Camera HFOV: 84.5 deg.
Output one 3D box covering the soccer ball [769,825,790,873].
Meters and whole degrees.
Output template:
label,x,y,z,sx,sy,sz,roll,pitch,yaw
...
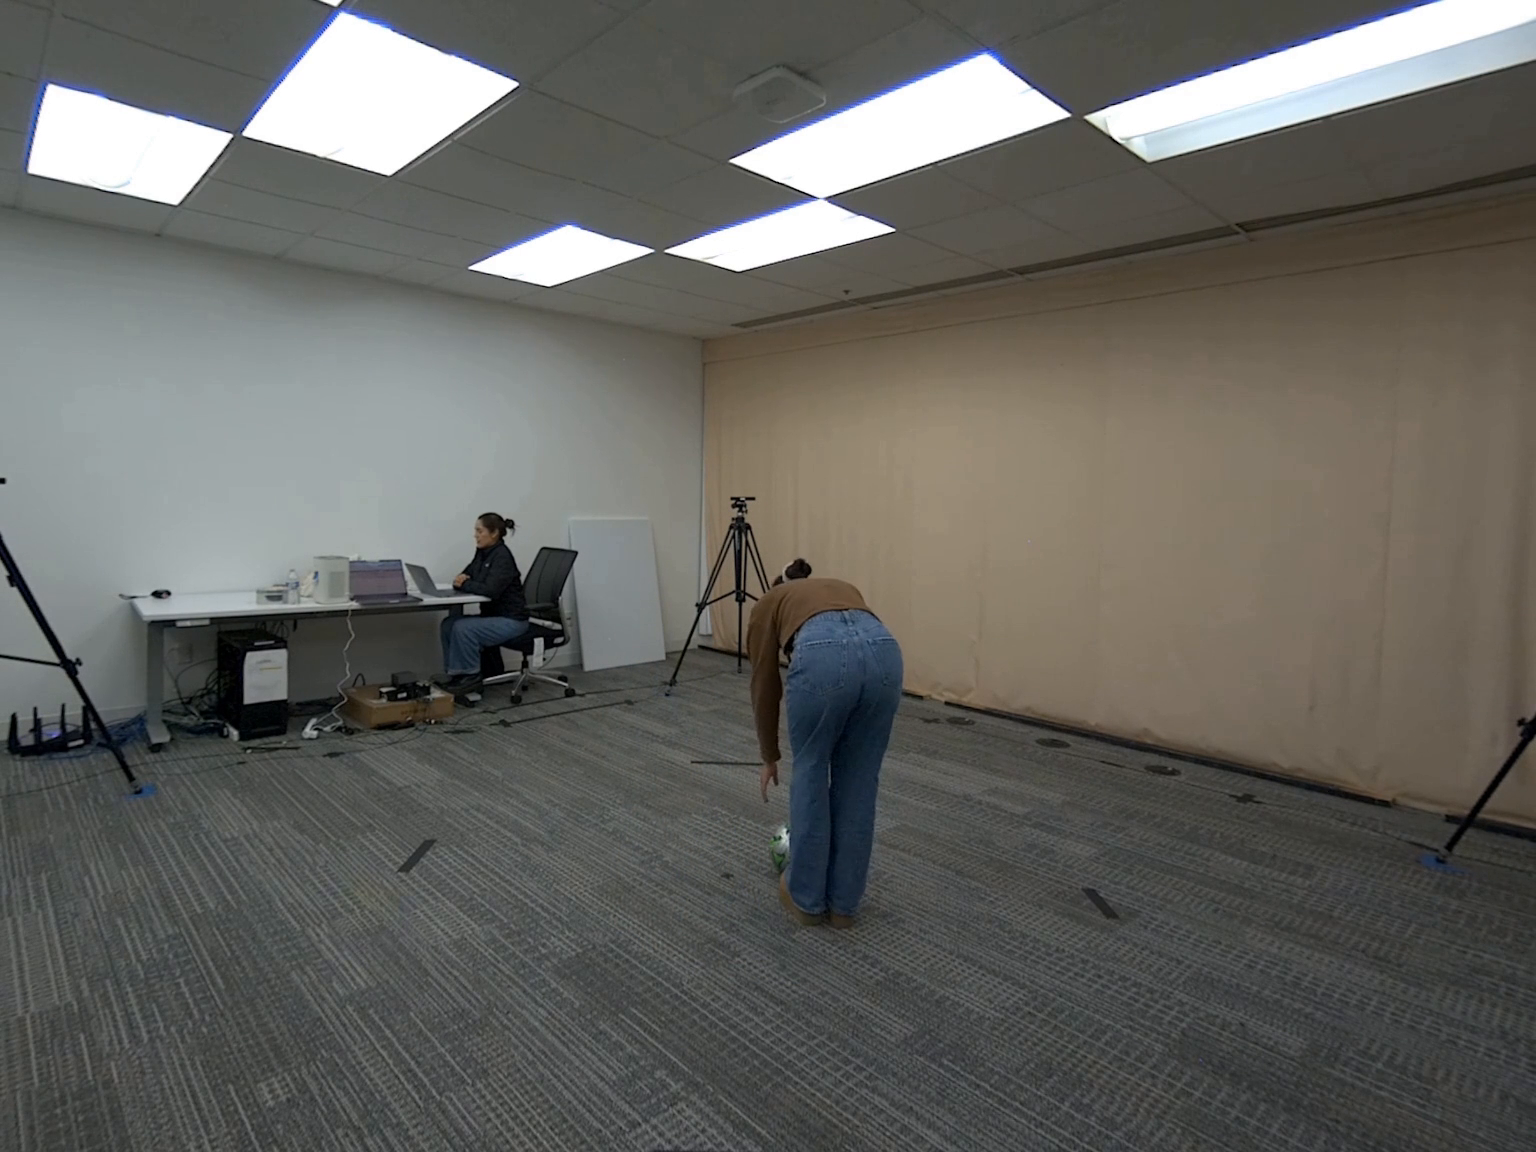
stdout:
label,x,y,z,sx,sy,sz,roll,pitch,yaw
soccer ball,0.090,1.014,3.126,0.187,0.187,0.188,1,4,-1
